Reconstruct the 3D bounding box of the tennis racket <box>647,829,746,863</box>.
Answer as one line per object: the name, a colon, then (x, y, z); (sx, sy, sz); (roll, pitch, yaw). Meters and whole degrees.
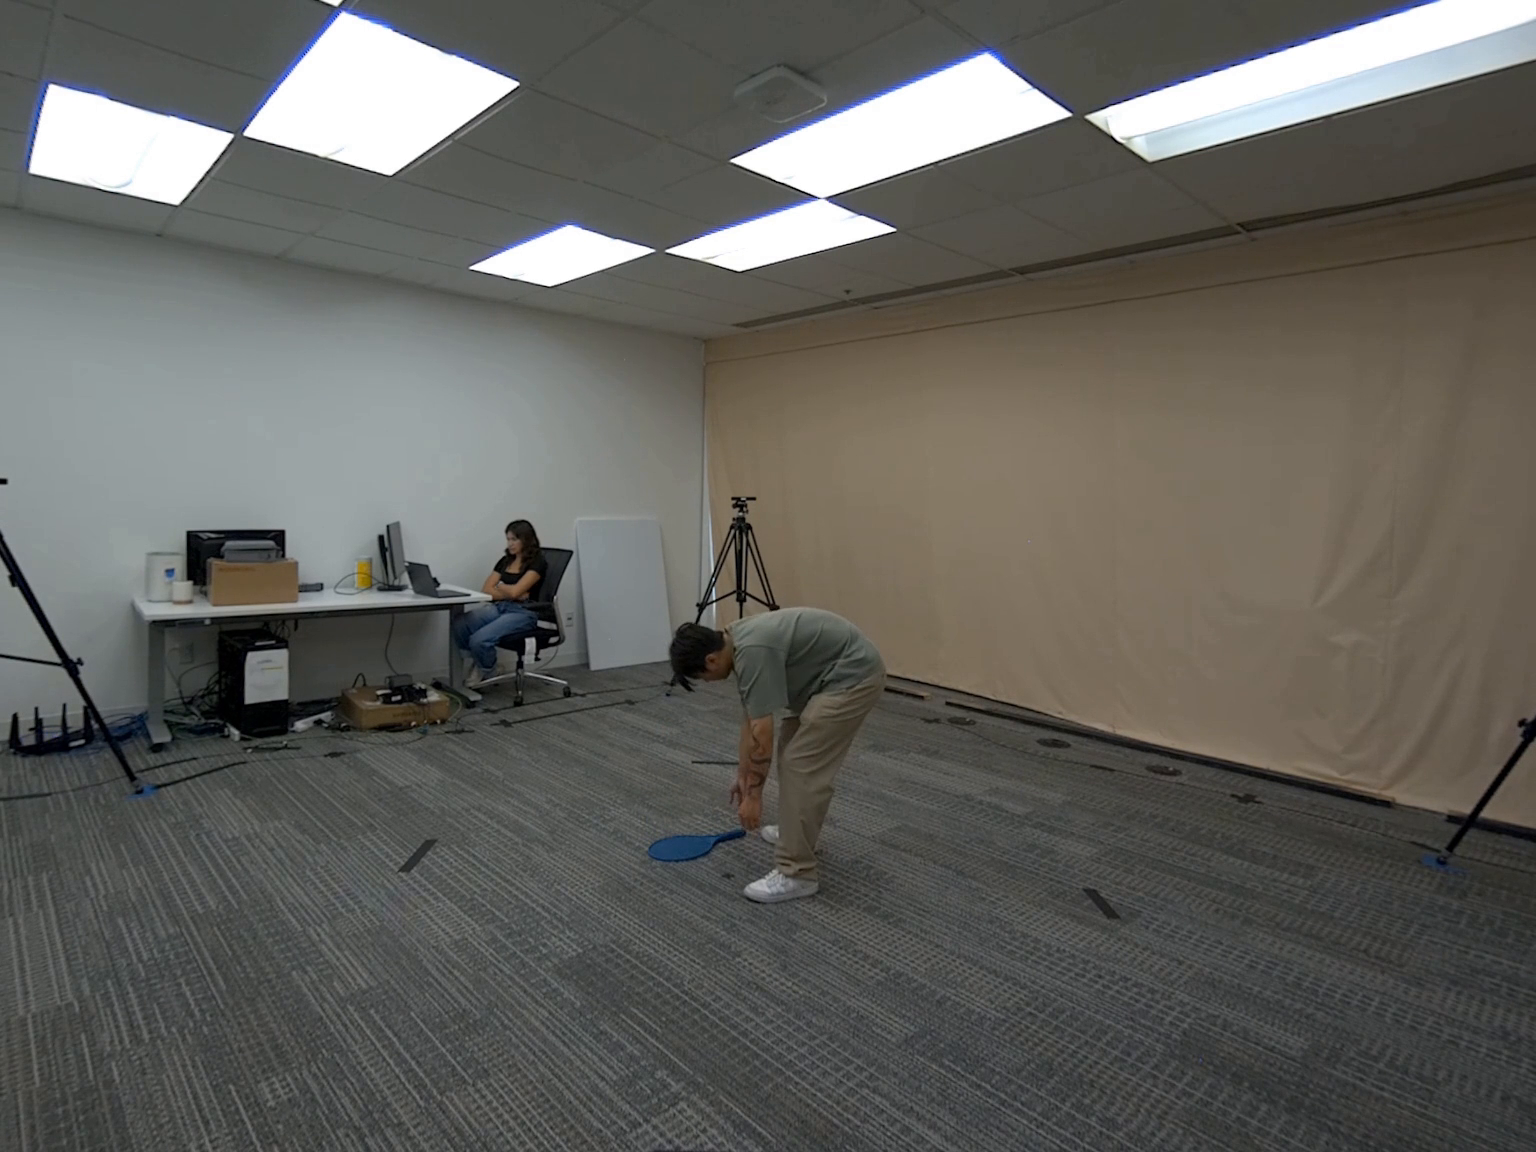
tennis racket: (-0.282, 1.068, 3.365); (0.424, 0.031, 0.219); (-4, 8, -31)
